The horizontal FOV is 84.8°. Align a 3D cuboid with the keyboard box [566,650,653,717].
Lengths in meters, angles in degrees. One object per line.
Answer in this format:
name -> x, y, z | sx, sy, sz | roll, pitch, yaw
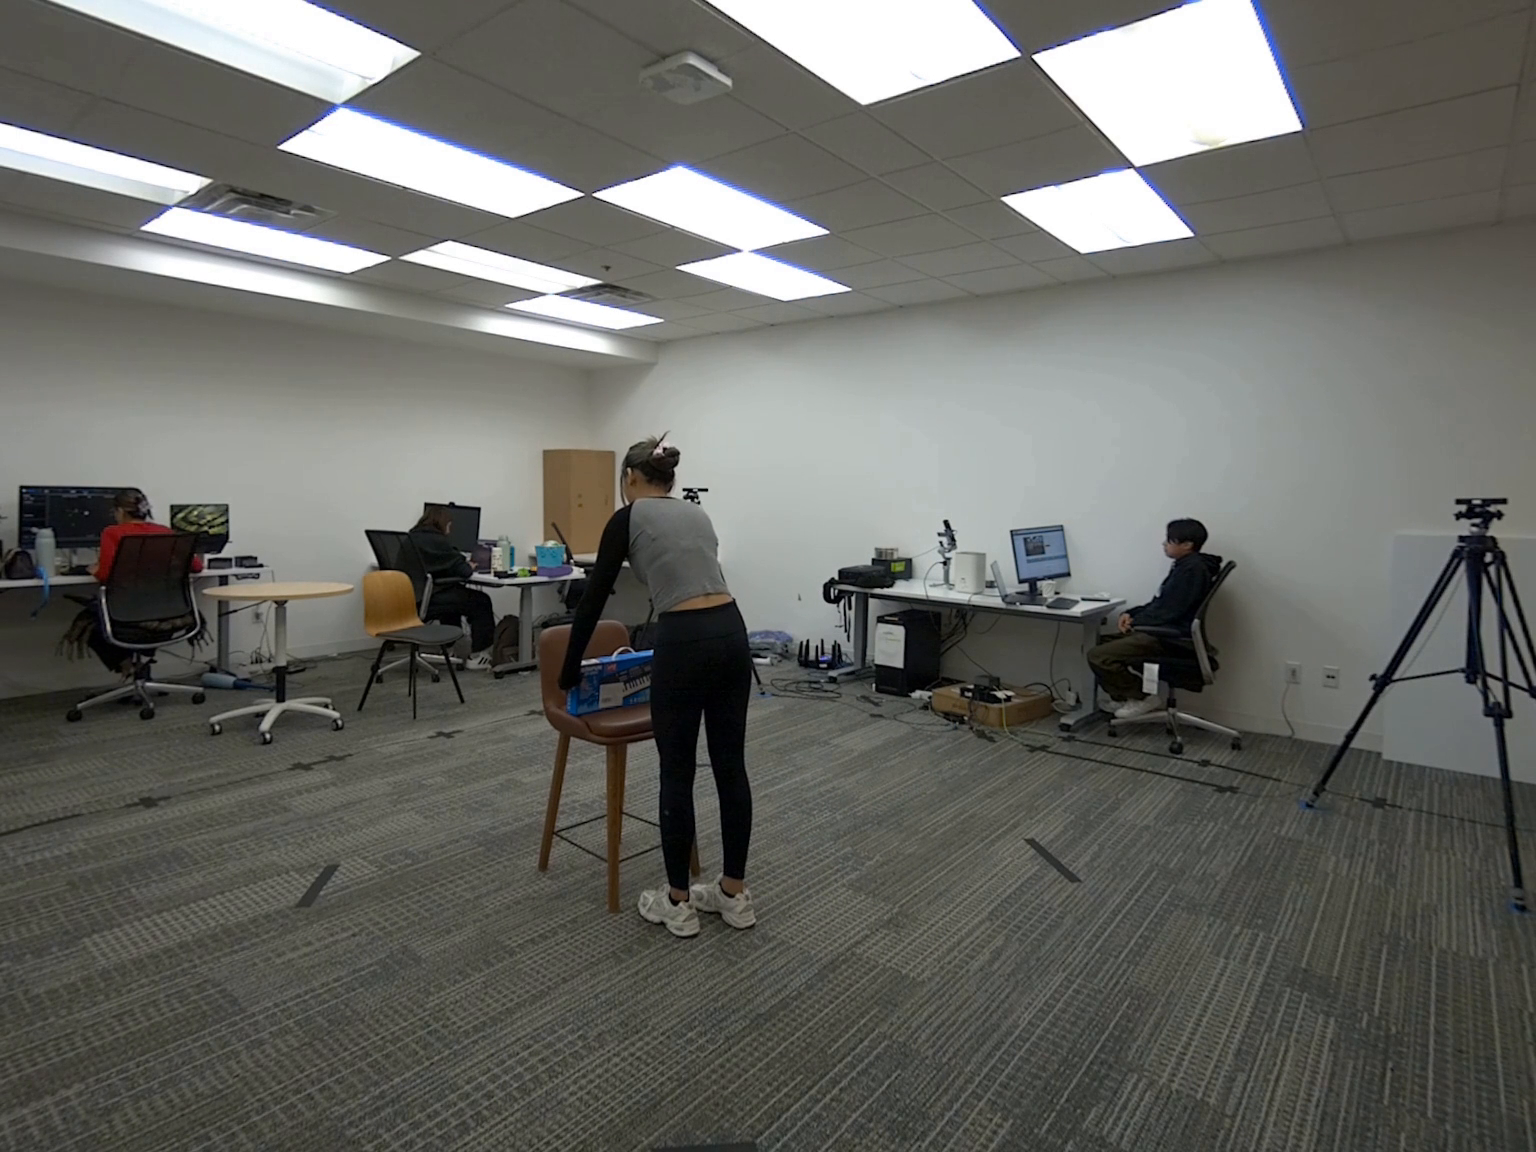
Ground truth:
keyboard box -> -0.530, 0.372, 3.035 | 0.424, 0.175, 0.061 | -4, 8, -44
